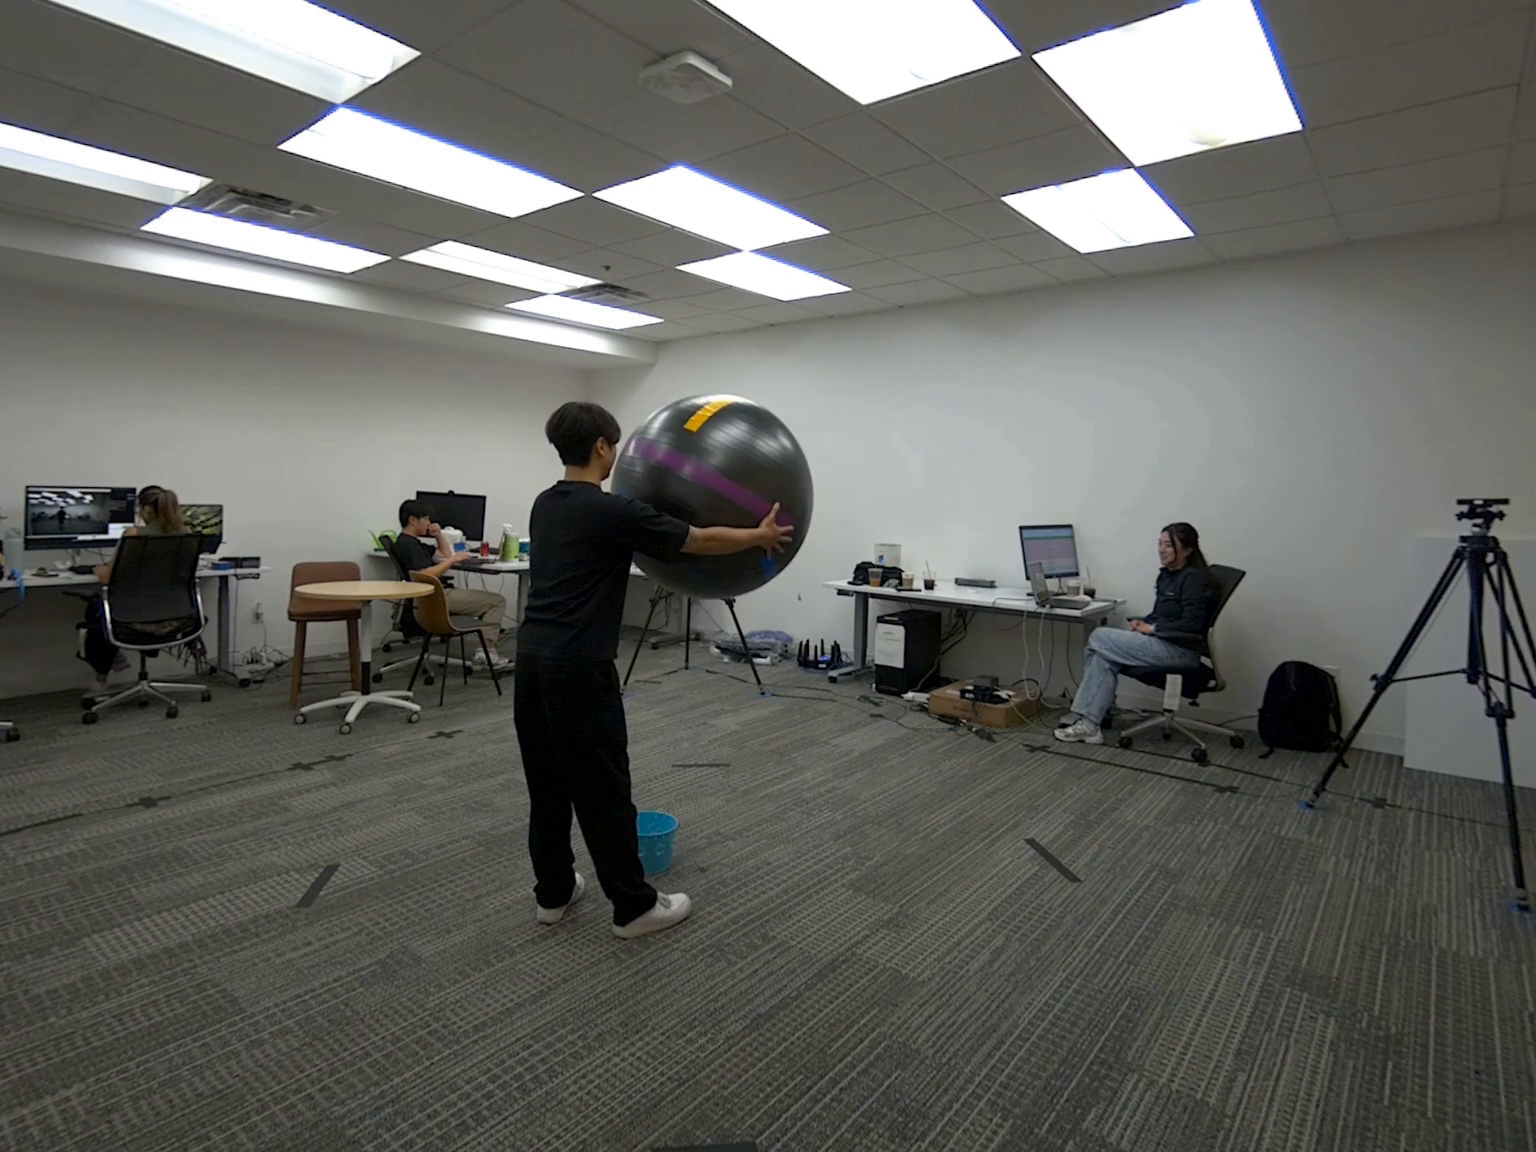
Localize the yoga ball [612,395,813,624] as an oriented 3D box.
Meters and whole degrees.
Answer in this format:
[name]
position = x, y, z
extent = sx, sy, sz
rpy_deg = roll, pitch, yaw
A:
[yoga ball]
position = -0.213, -0.289, 3.174
extent = 0.757, 0.755, 0.762
rpy_deg = 1, 4, -2
